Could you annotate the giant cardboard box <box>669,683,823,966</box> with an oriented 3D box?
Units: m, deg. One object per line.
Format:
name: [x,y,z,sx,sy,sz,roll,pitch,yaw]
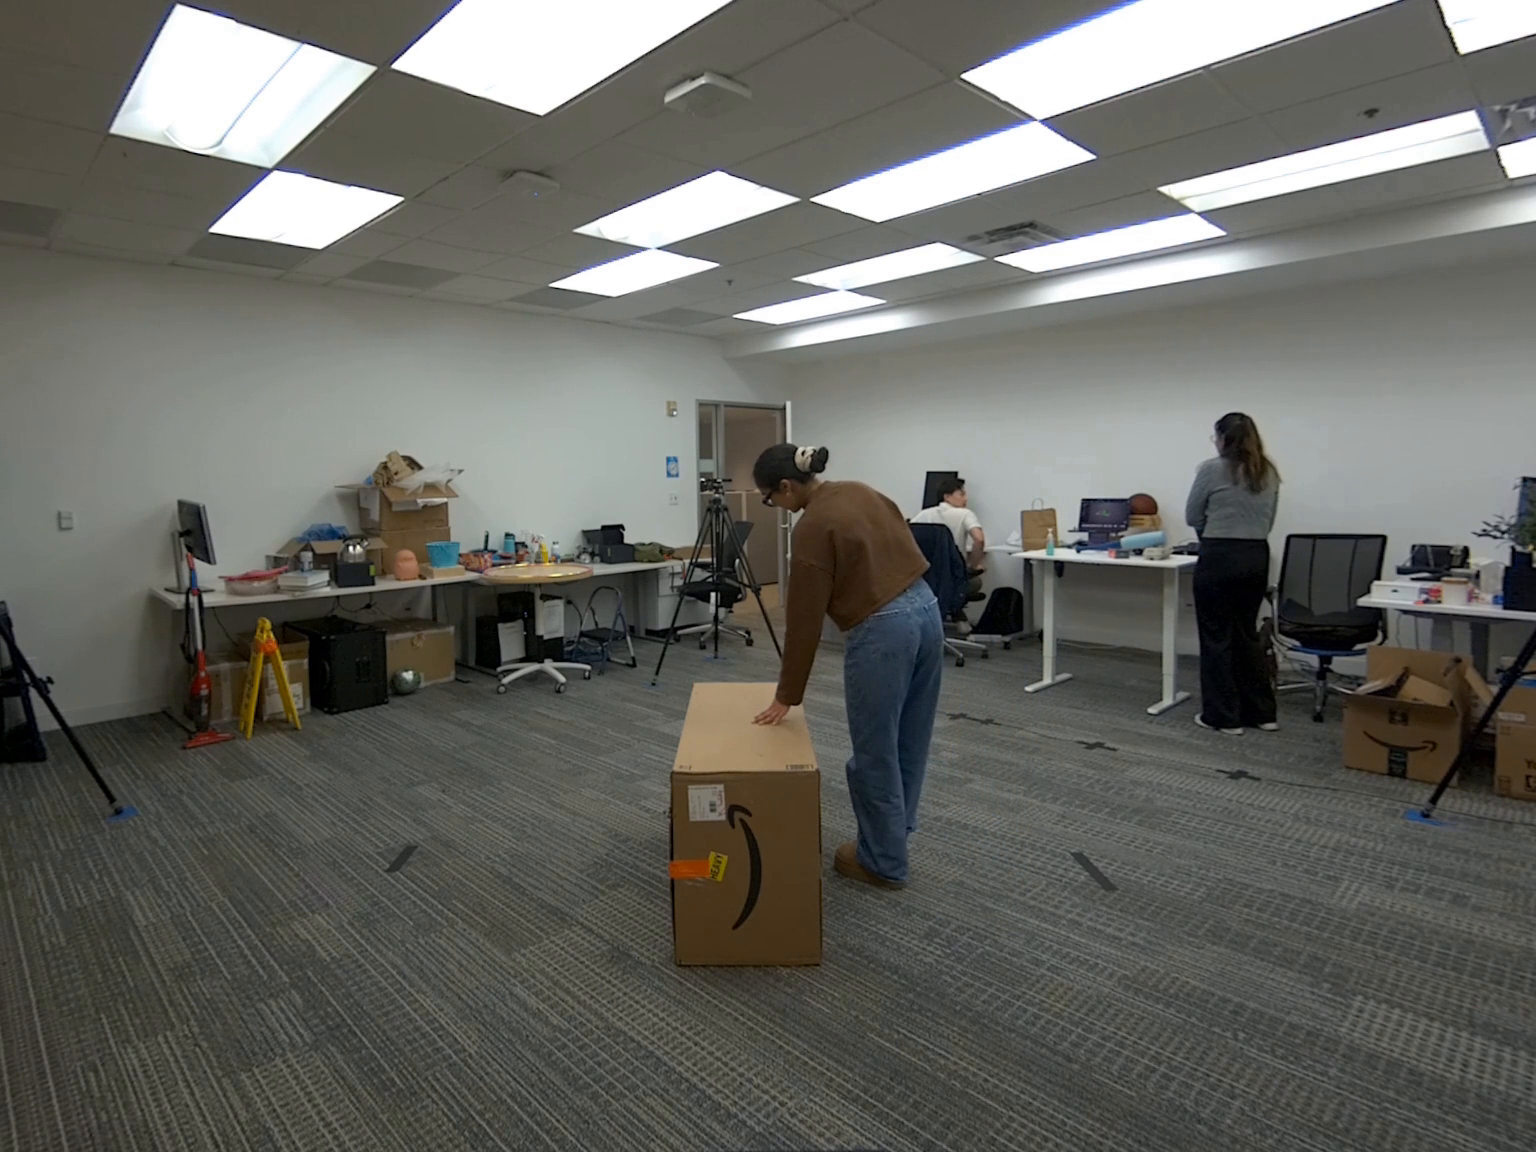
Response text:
giant cardboard box: [-0.079,0.777,2.940,0.447,0.581,1.030,1,6,0]
